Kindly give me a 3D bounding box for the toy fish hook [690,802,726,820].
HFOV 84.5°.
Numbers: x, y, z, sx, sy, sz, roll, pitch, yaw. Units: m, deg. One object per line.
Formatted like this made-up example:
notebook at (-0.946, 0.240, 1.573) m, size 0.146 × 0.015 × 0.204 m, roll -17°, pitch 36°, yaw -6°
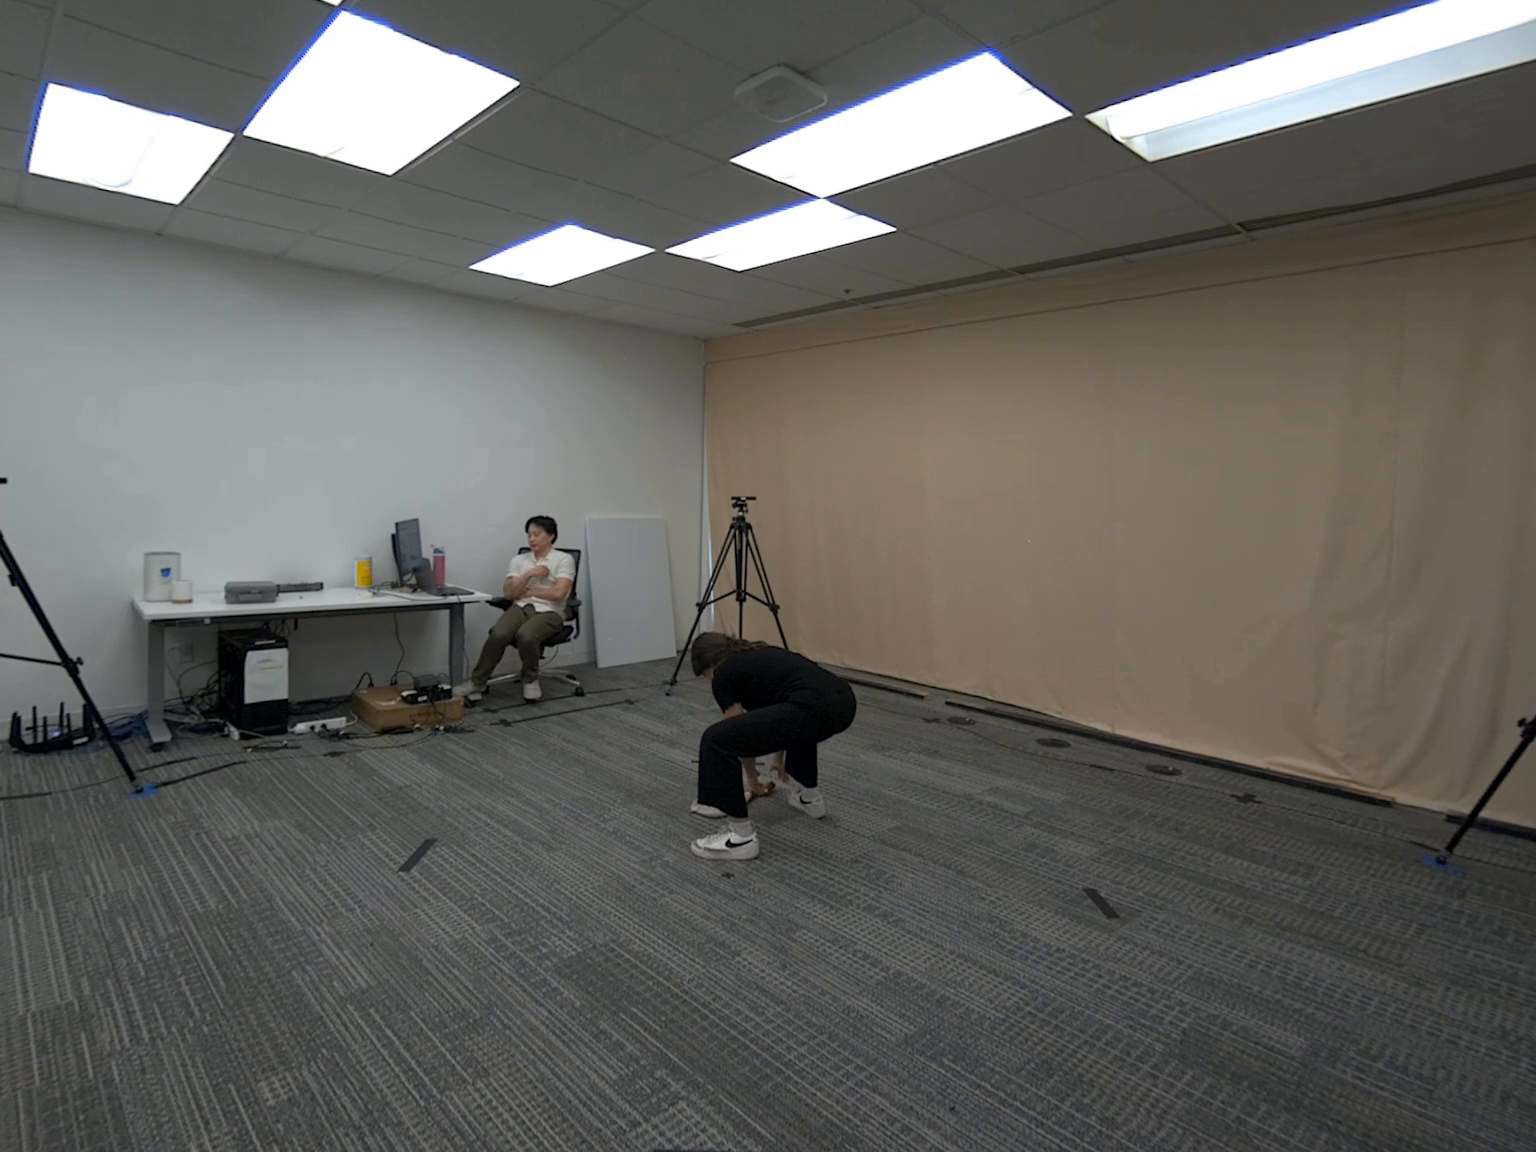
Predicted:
toy fish hook at (-0.167, 1.020, 3.885) m, size 0.230 × 0.048 × 0.496 m, roll 8°, pitch 7°, yaw 34°
